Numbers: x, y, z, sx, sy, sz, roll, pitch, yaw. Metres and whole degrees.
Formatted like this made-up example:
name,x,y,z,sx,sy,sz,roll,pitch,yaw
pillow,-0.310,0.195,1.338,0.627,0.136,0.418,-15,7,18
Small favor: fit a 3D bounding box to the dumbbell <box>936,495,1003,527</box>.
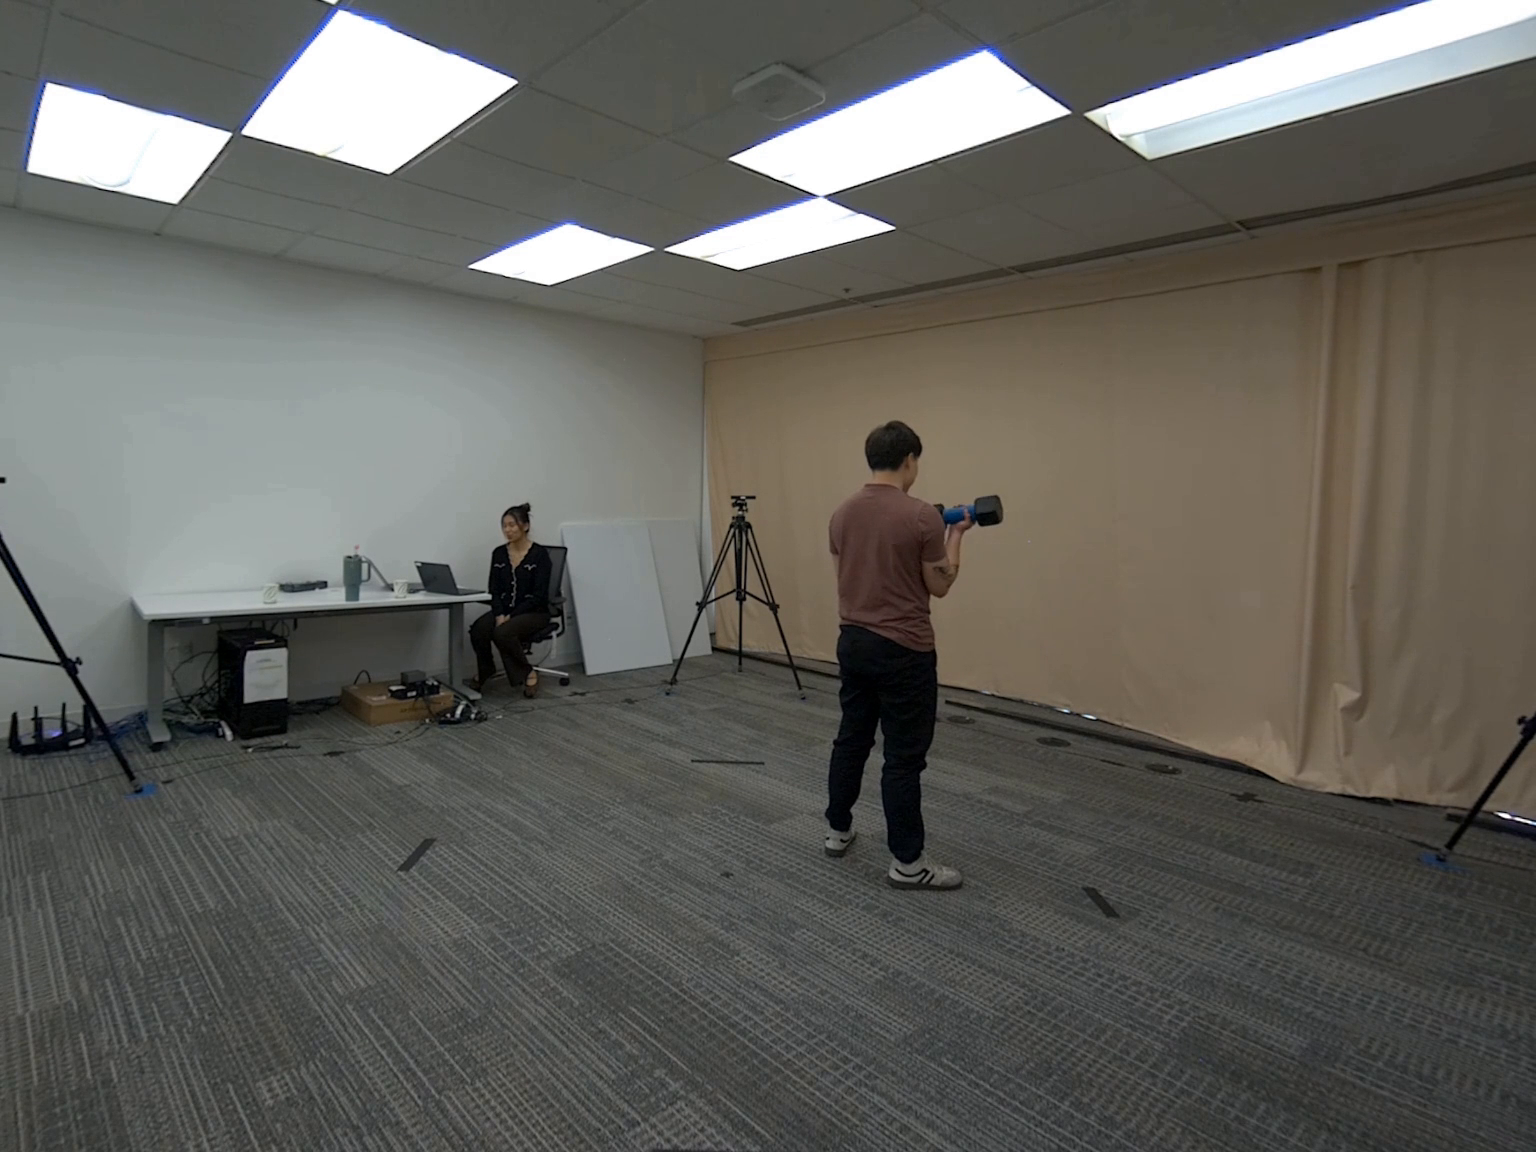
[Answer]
name,x,y,z,sx,sy,sz,roll,pitch,yaw
dumbbell,0.718,-0.225,3.162,0.299,0.120,0.109,-8,34,31
